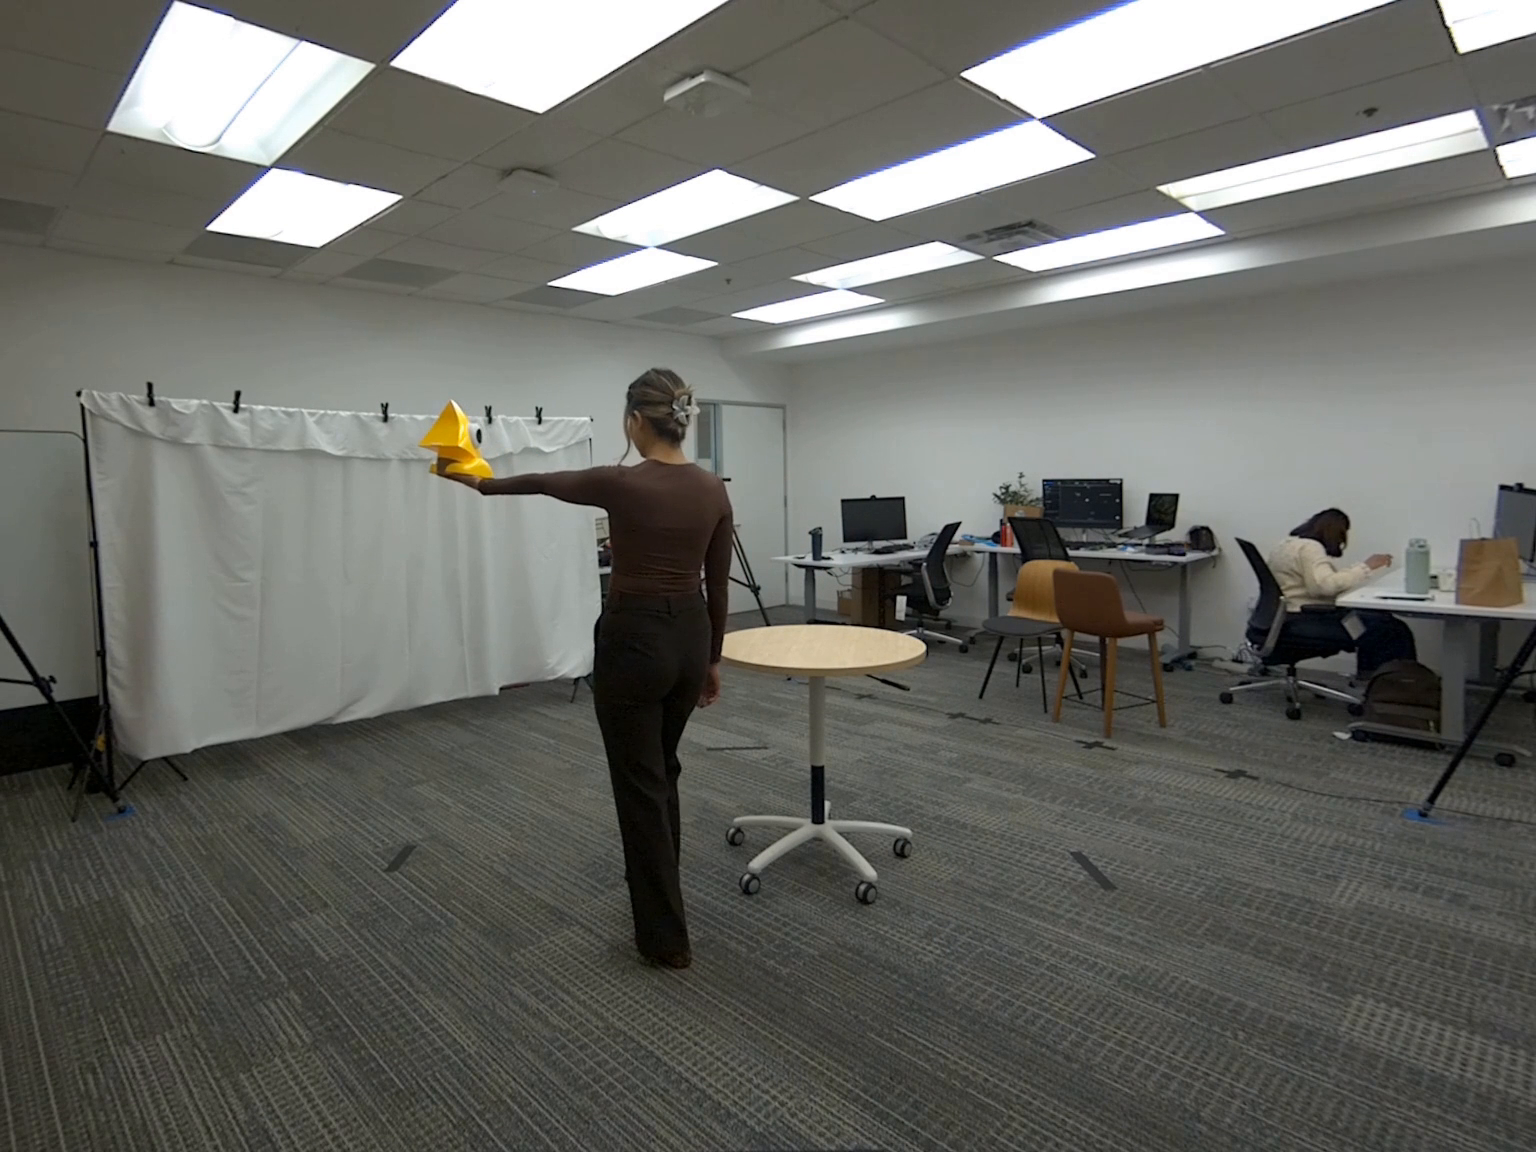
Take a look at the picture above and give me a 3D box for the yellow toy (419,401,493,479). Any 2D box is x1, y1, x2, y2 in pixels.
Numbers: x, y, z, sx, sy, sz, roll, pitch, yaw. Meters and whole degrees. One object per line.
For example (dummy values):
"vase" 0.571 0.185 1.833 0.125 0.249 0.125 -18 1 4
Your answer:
"yellow toy" -0.976 -0.437 2.729 0.211 0.231 0.187 5 -2 33
